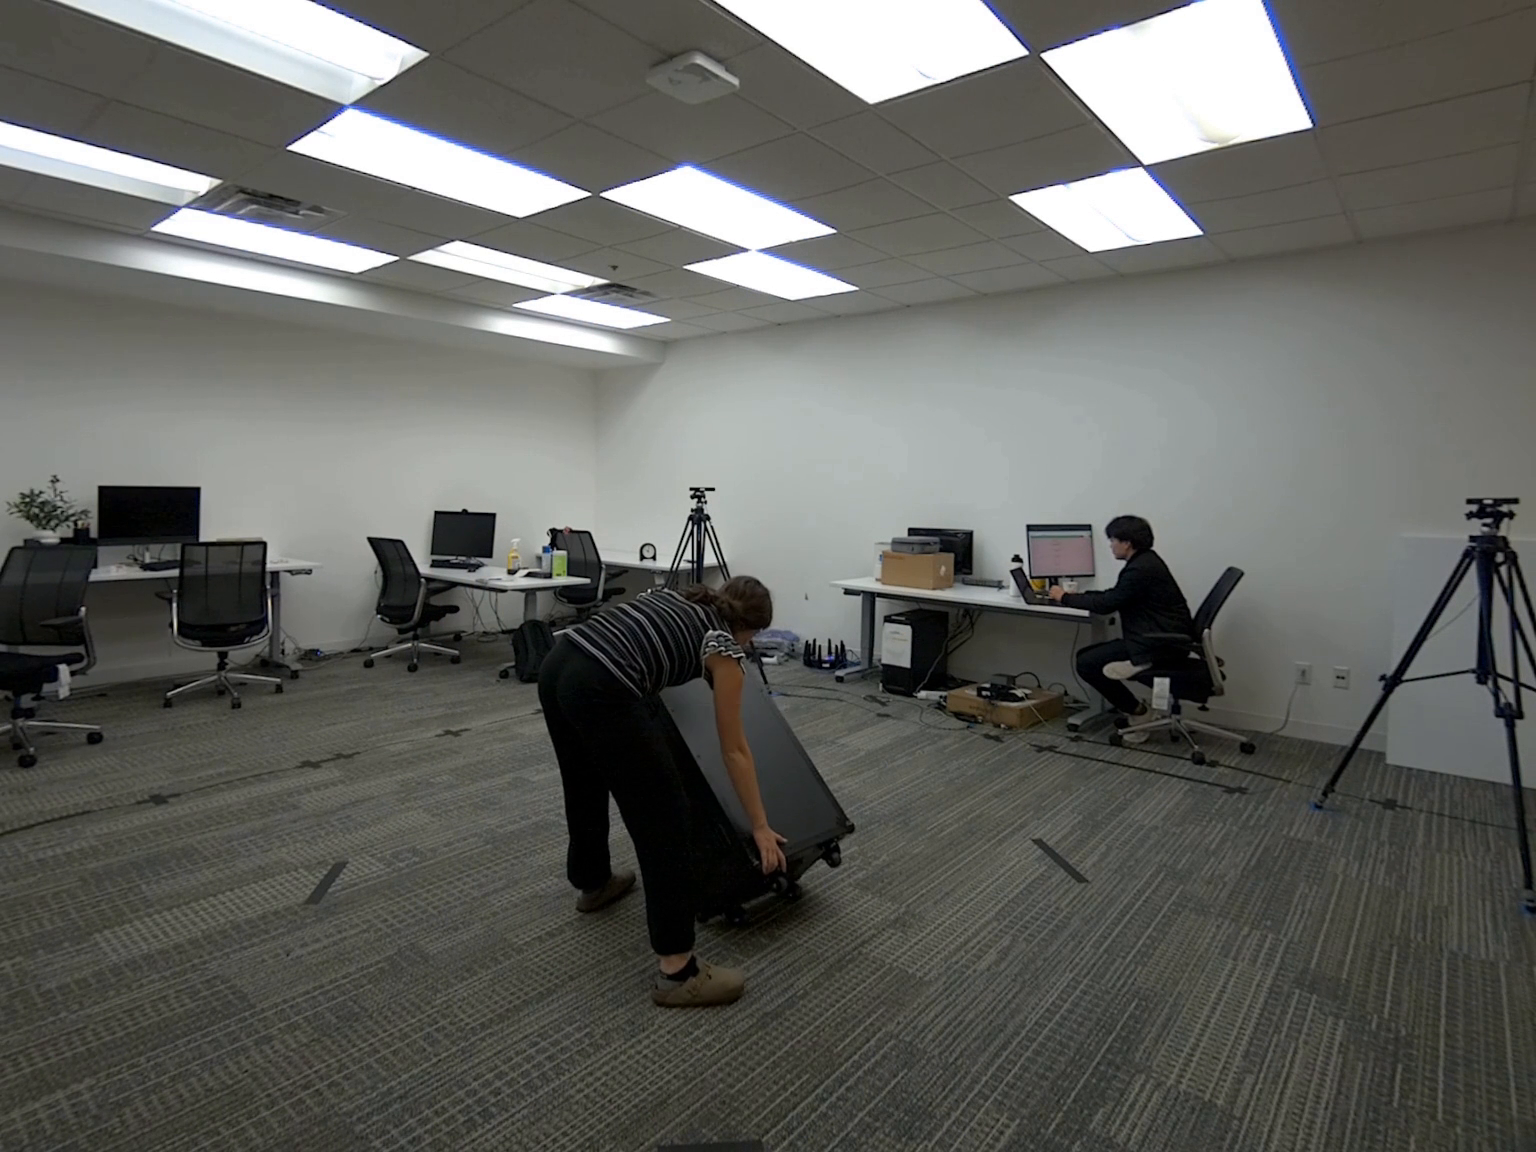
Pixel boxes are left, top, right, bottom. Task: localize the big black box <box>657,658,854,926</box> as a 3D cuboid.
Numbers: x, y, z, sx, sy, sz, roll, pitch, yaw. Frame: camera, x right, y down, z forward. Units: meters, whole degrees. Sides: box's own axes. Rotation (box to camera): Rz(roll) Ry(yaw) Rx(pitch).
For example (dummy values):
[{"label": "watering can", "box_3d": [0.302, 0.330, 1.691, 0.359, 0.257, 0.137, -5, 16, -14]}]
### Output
[{"label": "big black box", "box_3d": [-0.152, 0.709, 2.945, 0.505, 0.394, 0.893, -1, 47, -45]}]
